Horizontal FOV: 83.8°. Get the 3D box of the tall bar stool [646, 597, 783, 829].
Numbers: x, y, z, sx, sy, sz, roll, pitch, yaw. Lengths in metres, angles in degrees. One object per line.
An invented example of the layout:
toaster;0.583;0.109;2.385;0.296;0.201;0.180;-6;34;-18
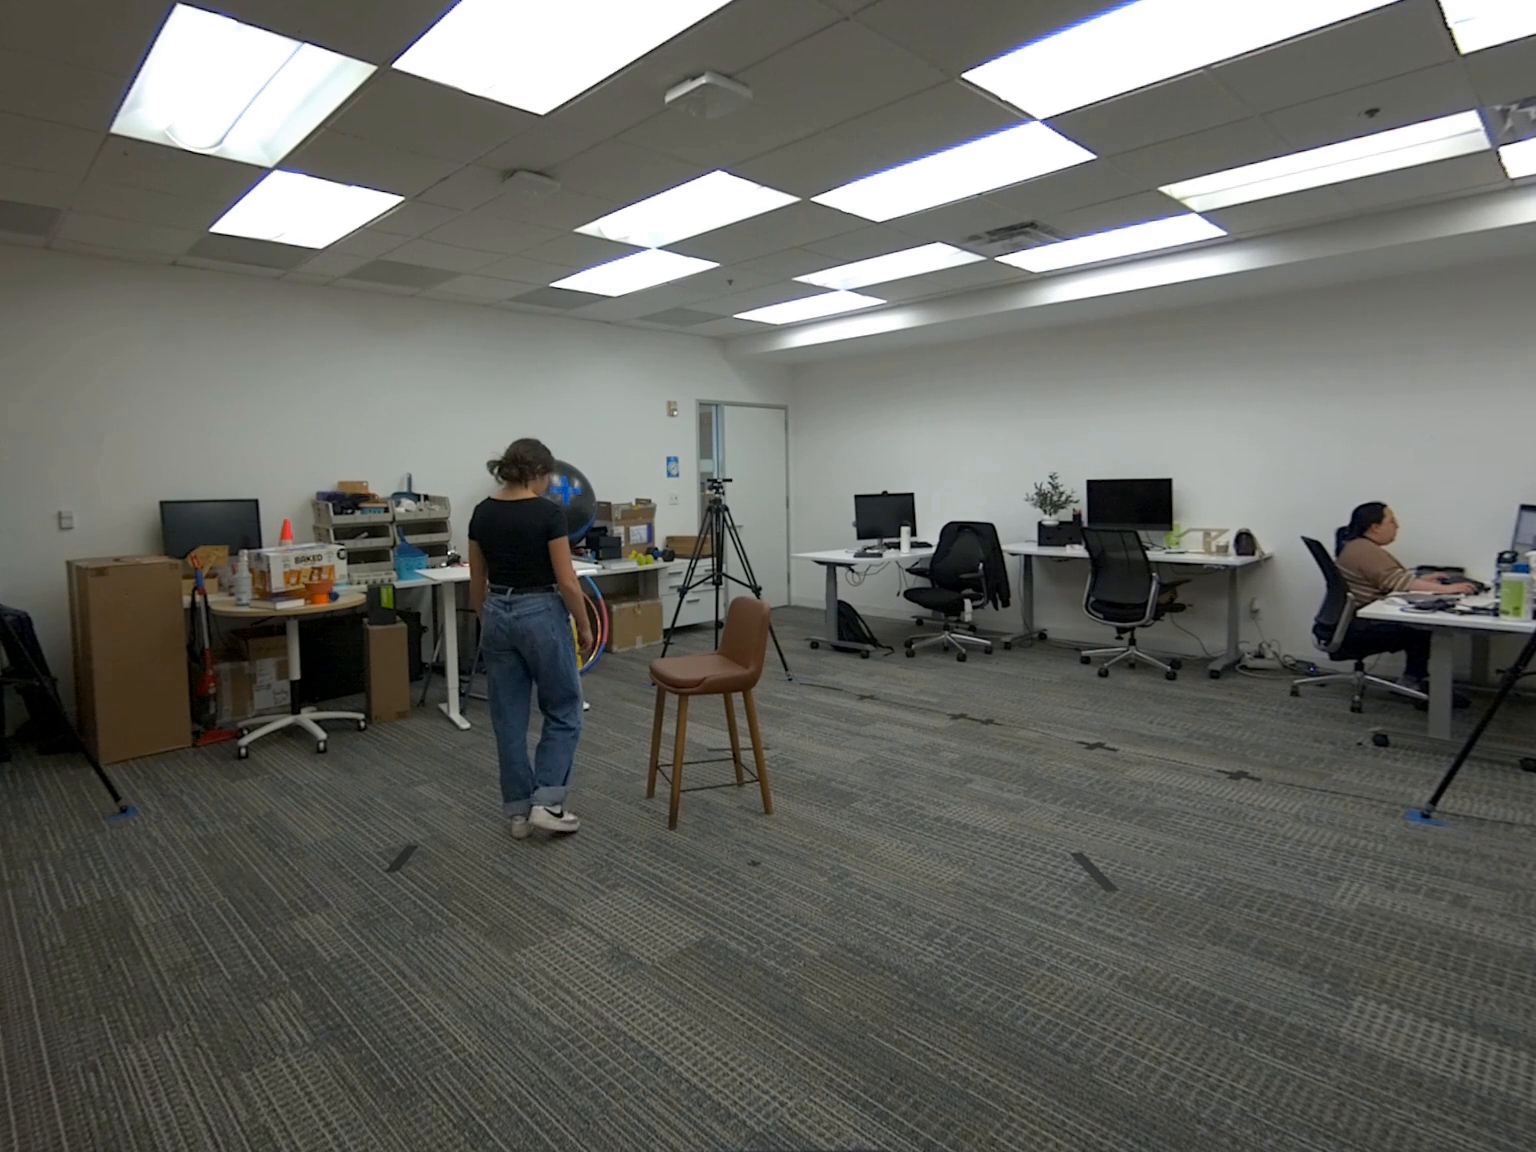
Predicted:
tall bar stool;-0.263;0.550;3.648;0.459;0.888;0.466;-1;3;-21
